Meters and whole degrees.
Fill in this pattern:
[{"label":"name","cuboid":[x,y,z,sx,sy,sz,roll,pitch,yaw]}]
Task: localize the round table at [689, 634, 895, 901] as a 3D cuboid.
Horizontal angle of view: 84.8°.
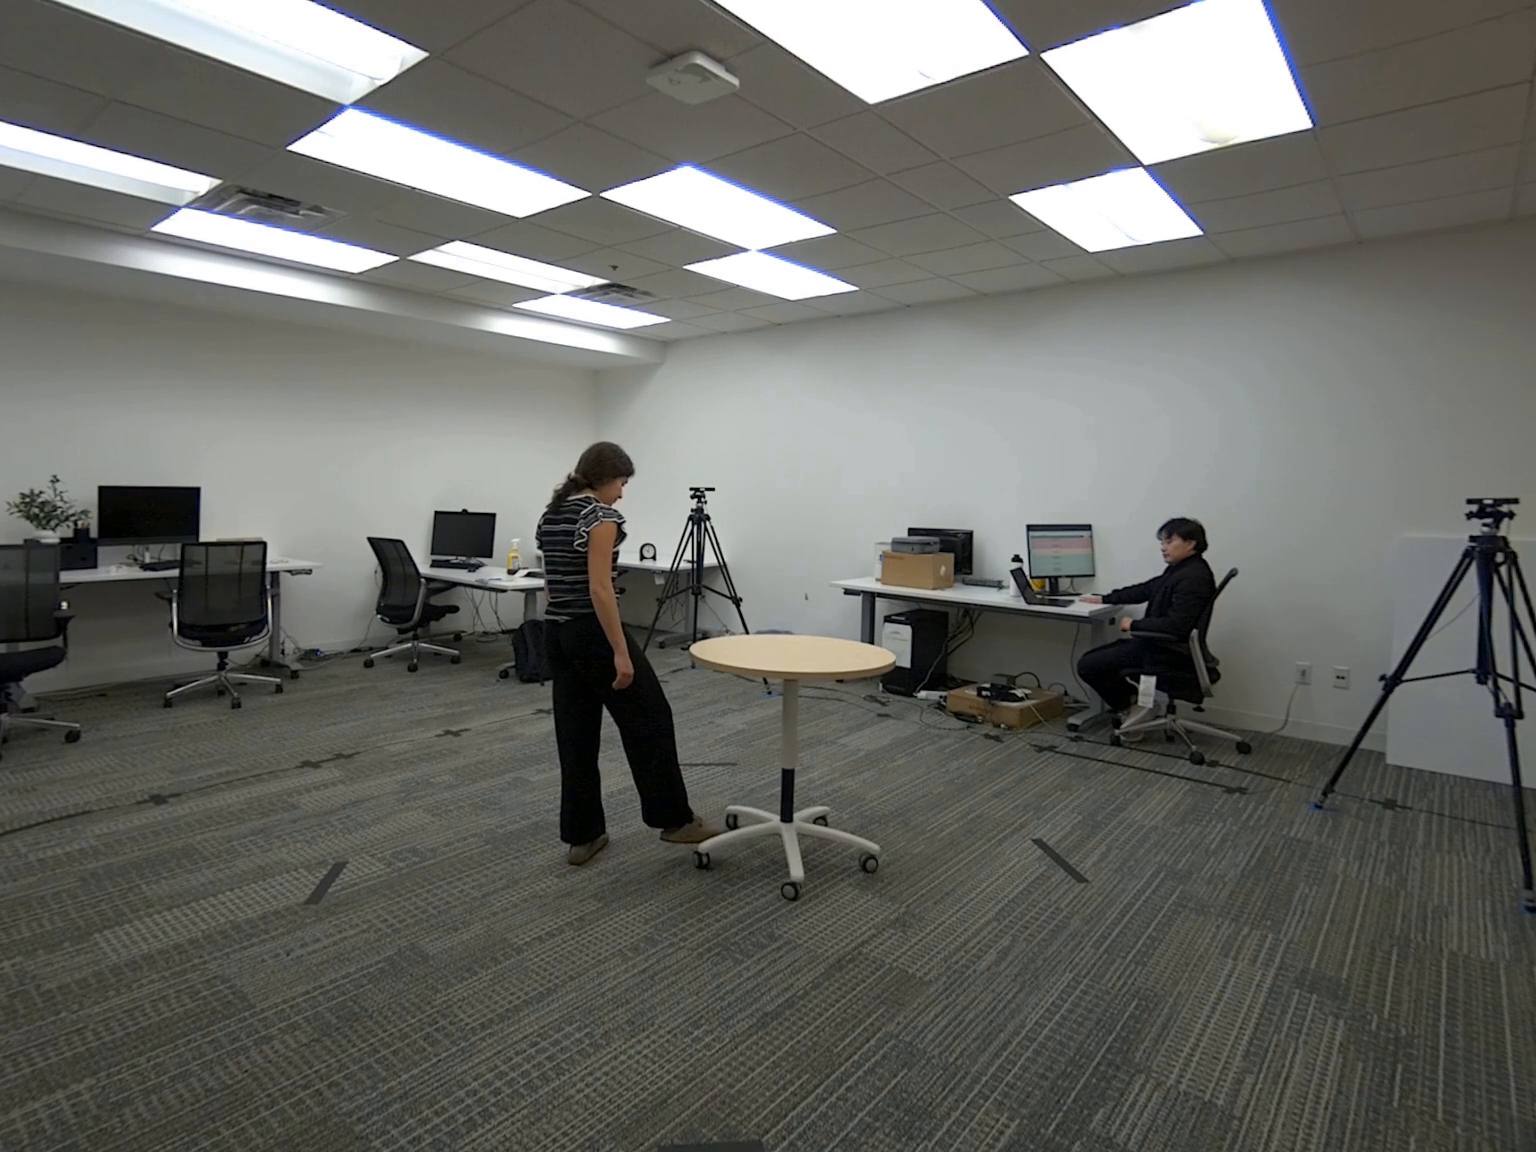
[{"label":"round table","cuboid":[0.065,0.670,3.191,0.784,0.784,0.788,1,4,-2]}]
